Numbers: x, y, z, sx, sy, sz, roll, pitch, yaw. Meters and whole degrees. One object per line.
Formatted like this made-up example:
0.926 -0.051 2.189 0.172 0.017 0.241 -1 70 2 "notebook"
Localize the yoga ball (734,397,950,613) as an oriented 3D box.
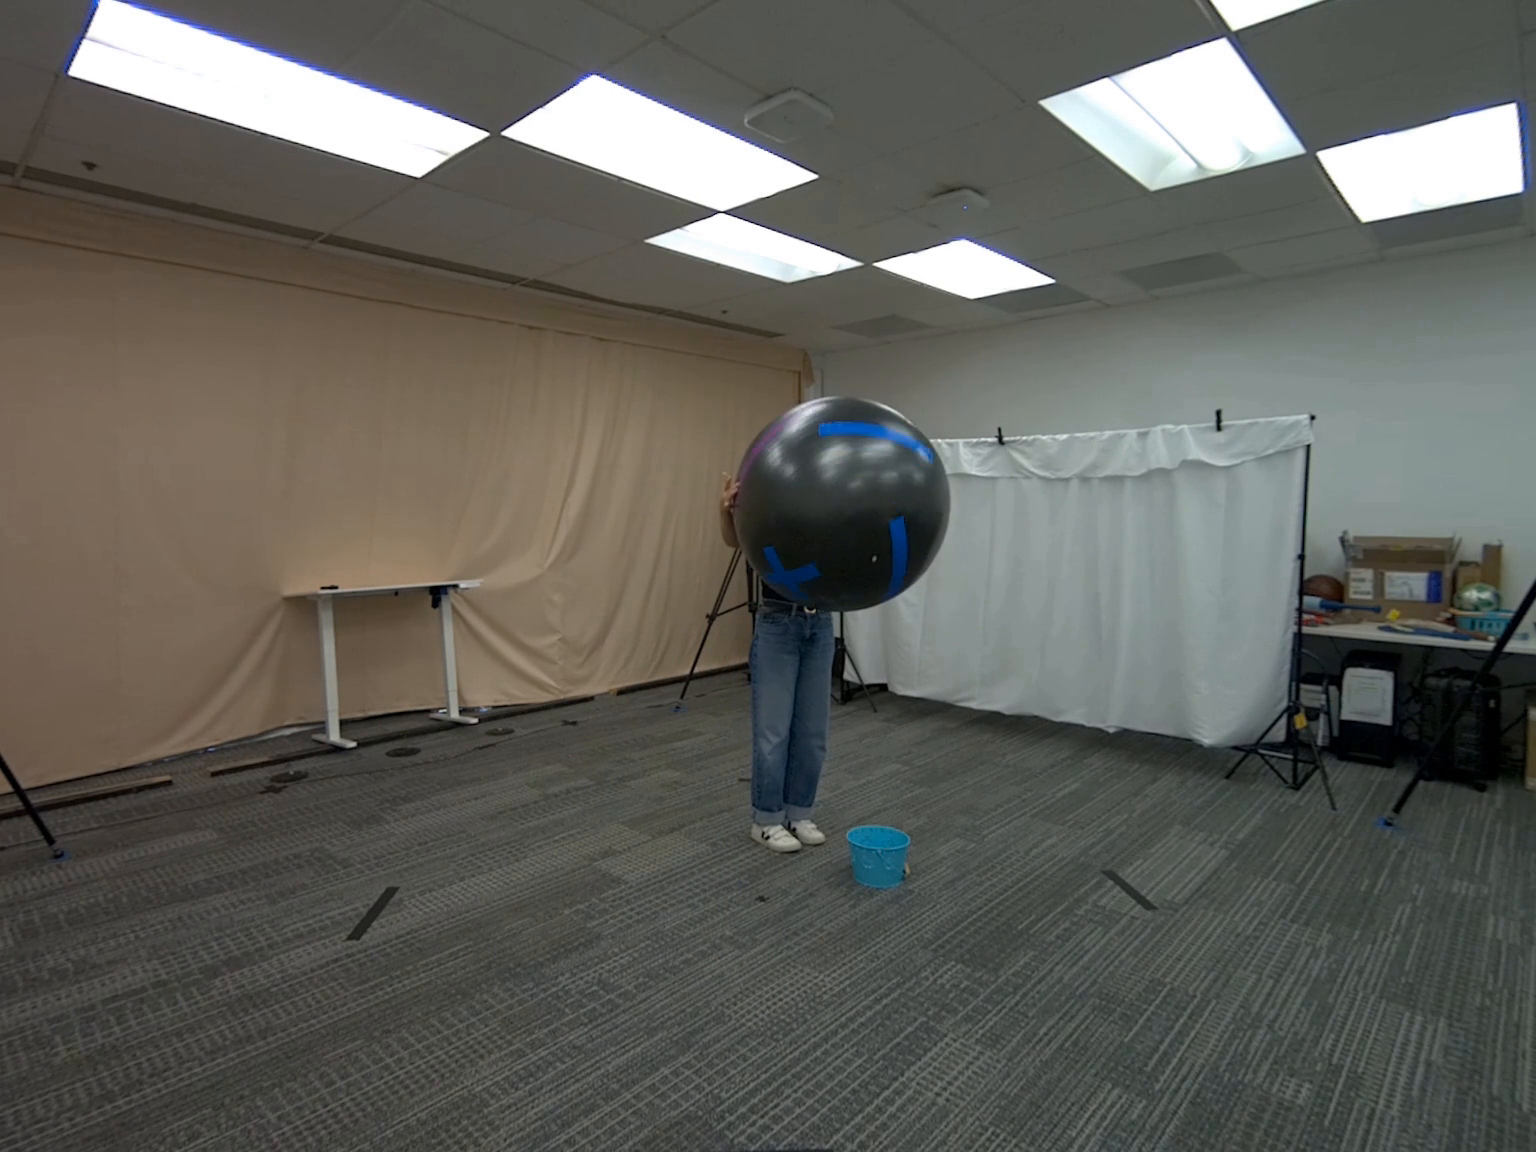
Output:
0.257 -0.249 2.980 0.757 0.756 0.760 0 4 -2 "yoga ball"
